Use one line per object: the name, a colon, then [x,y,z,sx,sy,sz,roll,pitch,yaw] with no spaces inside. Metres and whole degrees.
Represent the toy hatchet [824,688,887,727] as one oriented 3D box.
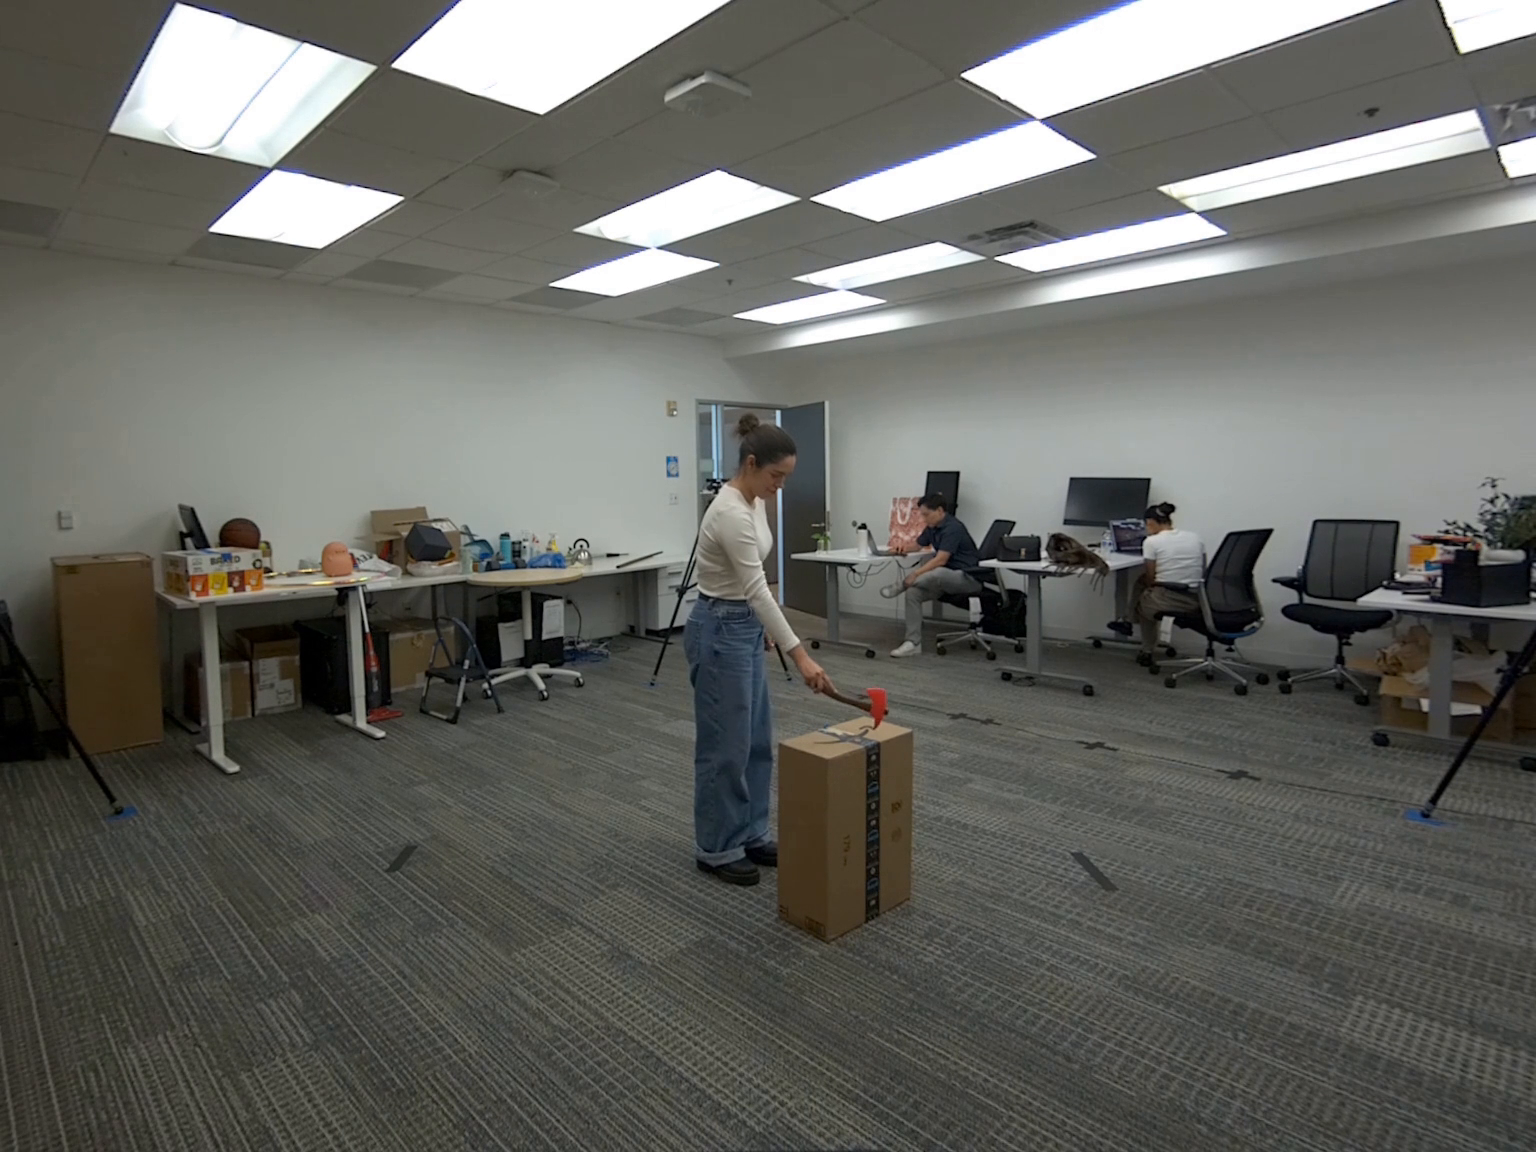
toy hatchet: [0.249,0.363,2.728,0.277,0.130,0.029,38,22,19]
